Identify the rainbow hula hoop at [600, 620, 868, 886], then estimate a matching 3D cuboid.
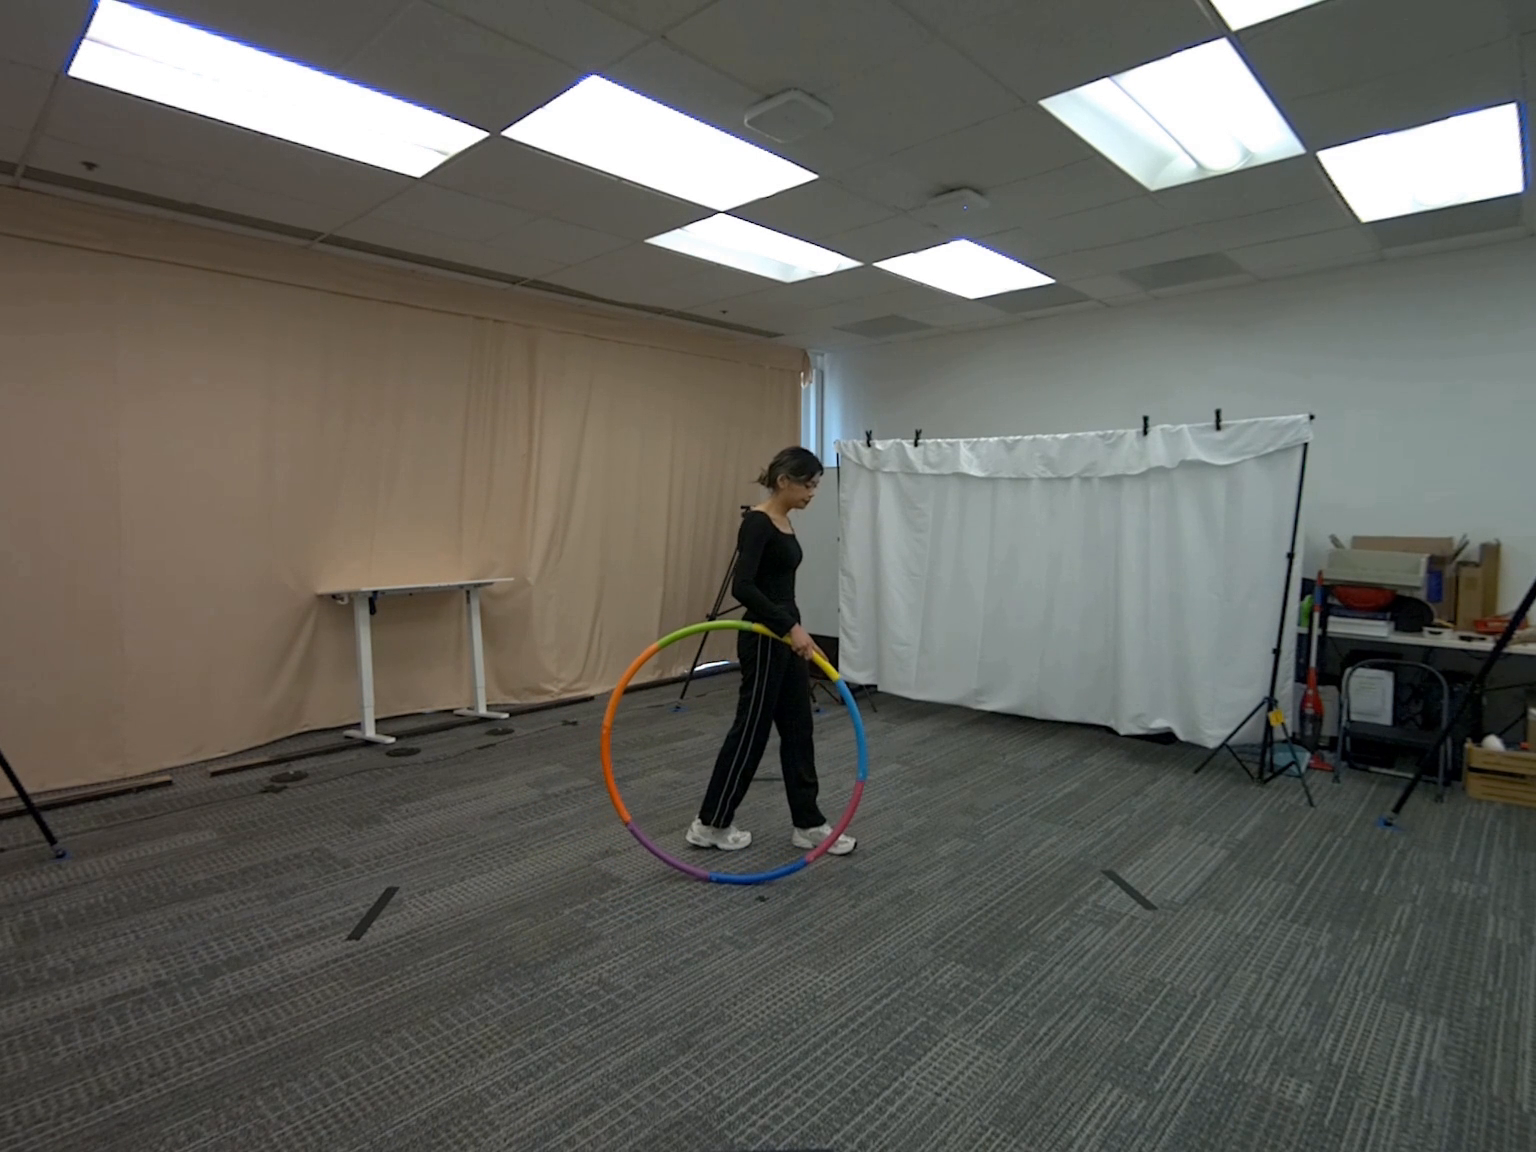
[{"bbox_3d":[-0.136,0.657,3.136,0.987,0.980,0.035,1,-2,8],"label":"rainbow hula hoop"}]
